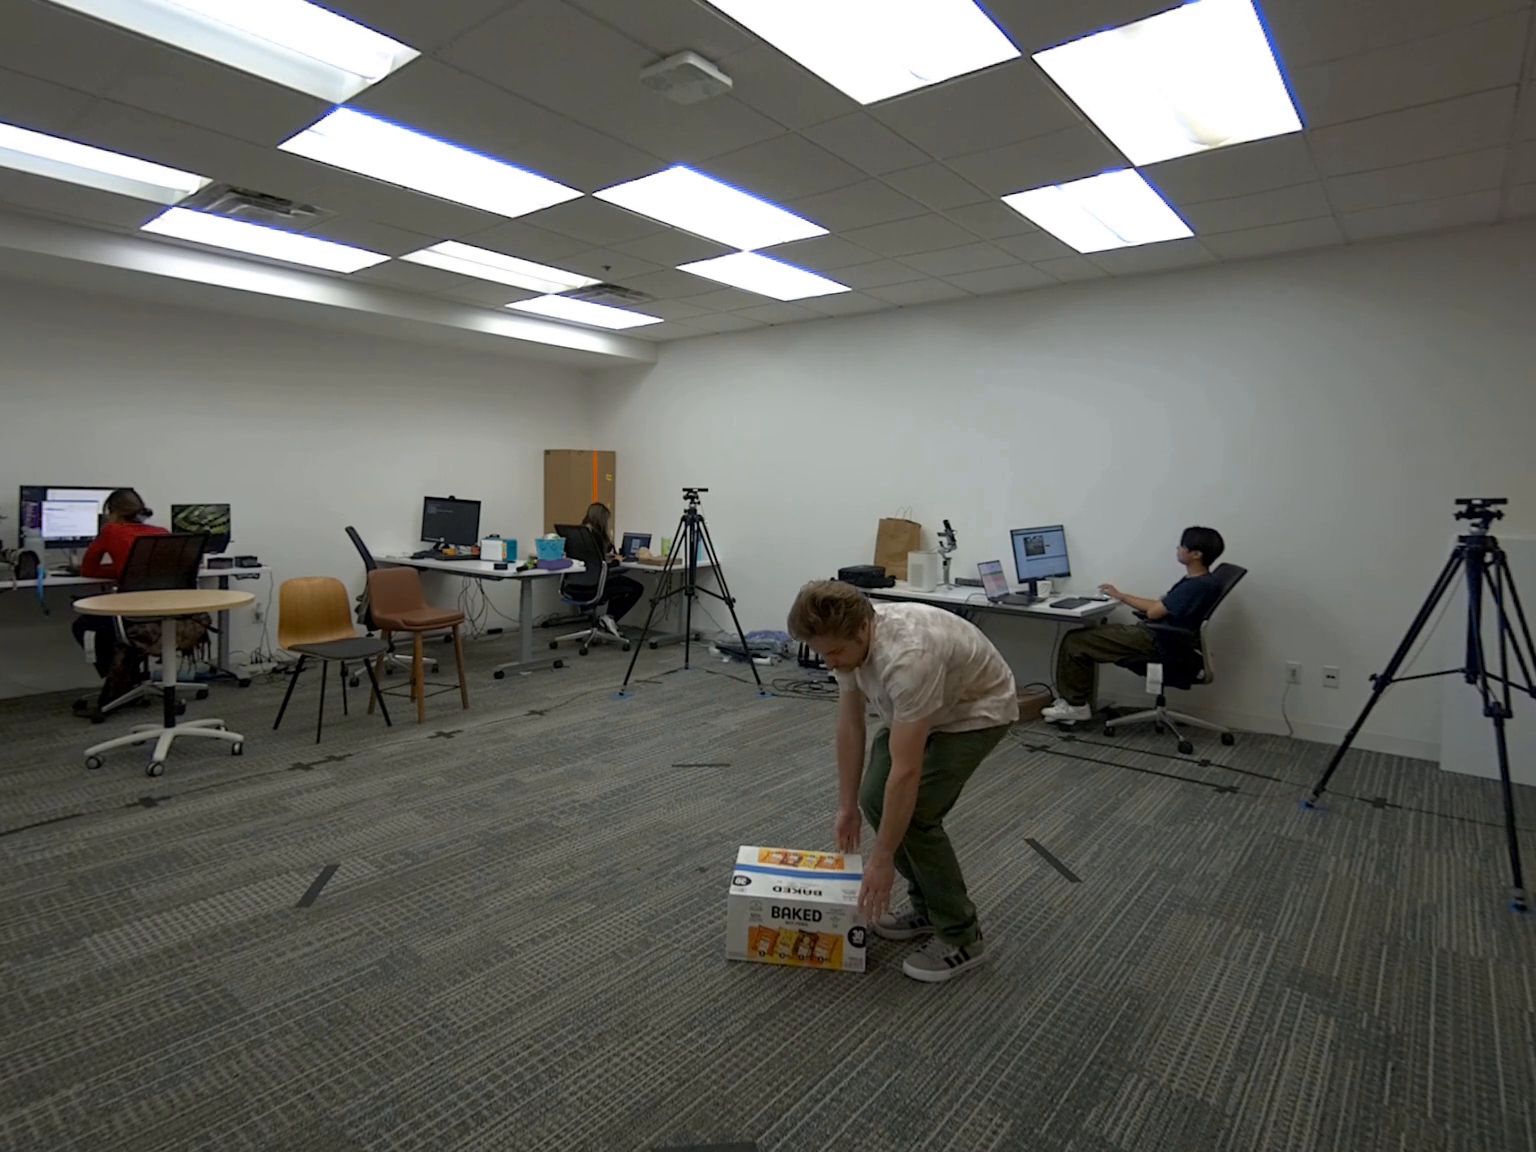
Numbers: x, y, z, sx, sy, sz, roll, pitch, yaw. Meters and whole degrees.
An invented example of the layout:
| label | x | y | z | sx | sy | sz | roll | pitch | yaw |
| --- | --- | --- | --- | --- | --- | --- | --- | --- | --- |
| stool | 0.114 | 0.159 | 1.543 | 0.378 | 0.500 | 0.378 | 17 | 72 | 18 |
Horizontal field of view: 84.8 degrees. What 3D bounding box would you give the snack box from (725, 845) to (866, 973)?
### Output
| label | x | y | z | sx | sy | sz | roll | pitch | yaw |
| --- | --- | --- | --- | --- | --- | --- | --- | --- | --- |
| snack box | 0.089 | 1.017 | 2.639 | 0.408 | 0.205 | 0.339 | 2 | 5 | 5 |
